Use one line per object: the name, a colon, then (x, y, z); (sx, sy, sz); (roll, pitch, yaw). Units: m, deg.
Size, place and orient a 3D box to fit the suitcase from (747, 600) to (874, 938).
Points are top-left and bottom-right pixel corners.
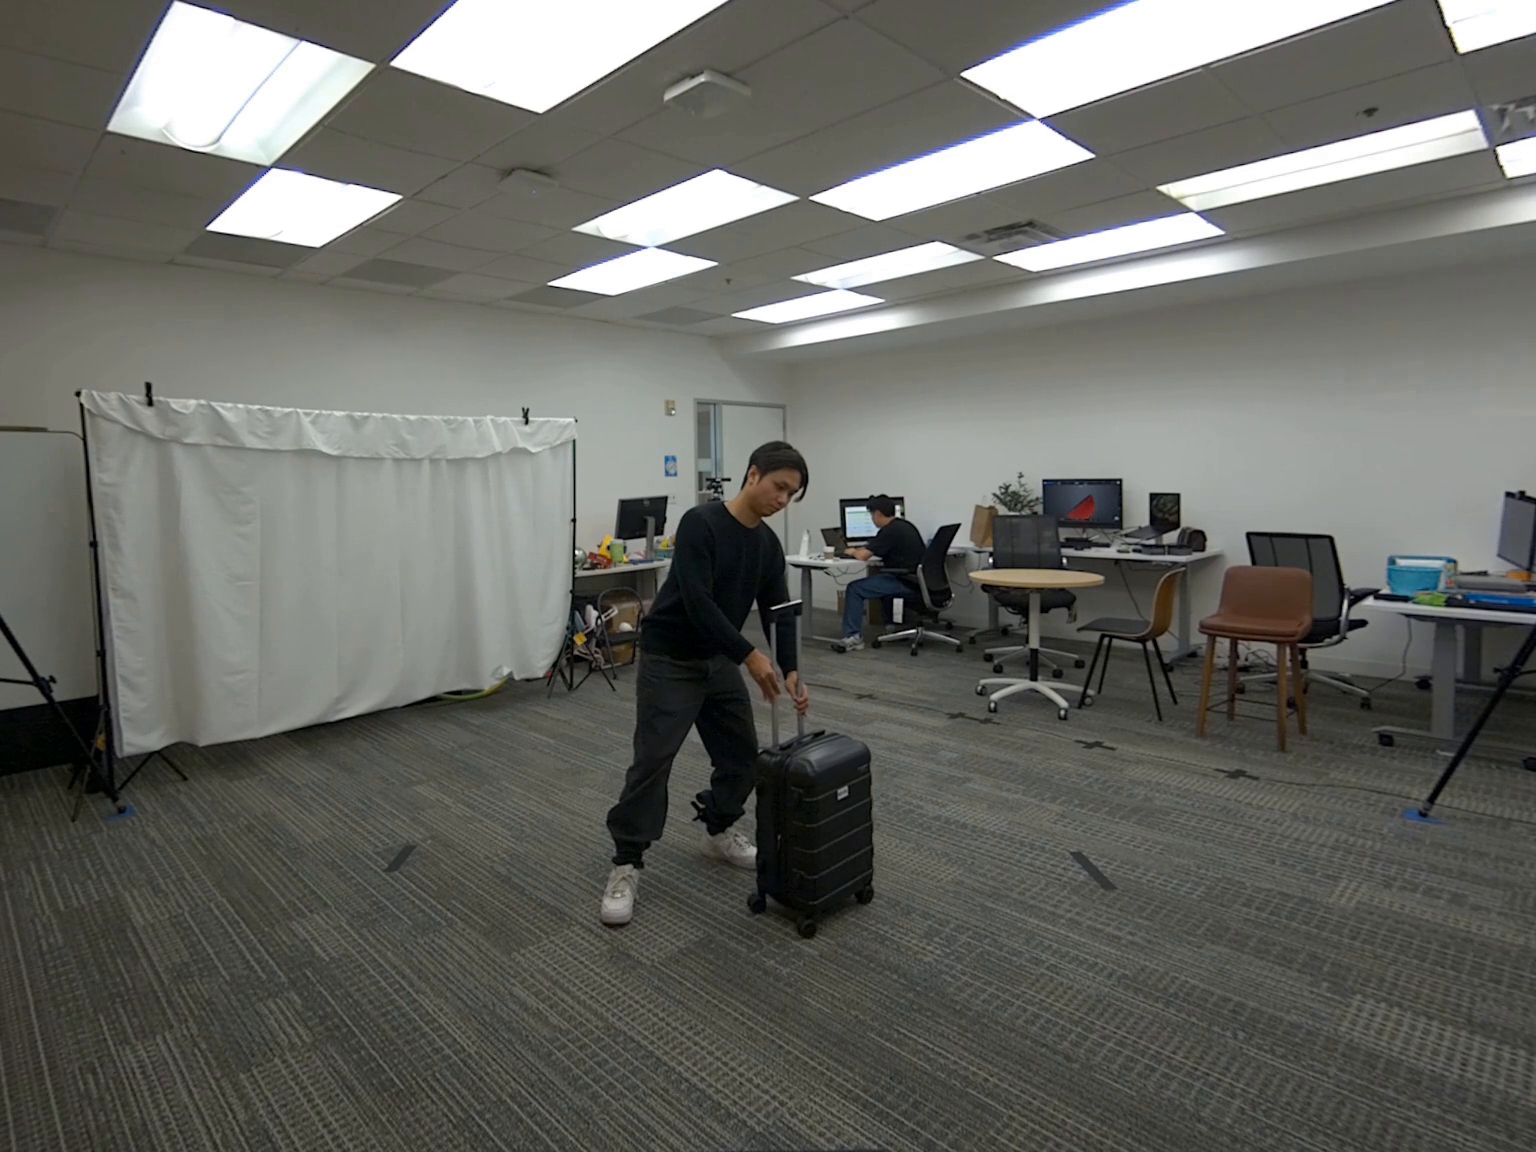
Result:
suitcase: (0.157, 0.598, 2.747); (0.265, 0.973, 0.374); (7, 8, 43)
